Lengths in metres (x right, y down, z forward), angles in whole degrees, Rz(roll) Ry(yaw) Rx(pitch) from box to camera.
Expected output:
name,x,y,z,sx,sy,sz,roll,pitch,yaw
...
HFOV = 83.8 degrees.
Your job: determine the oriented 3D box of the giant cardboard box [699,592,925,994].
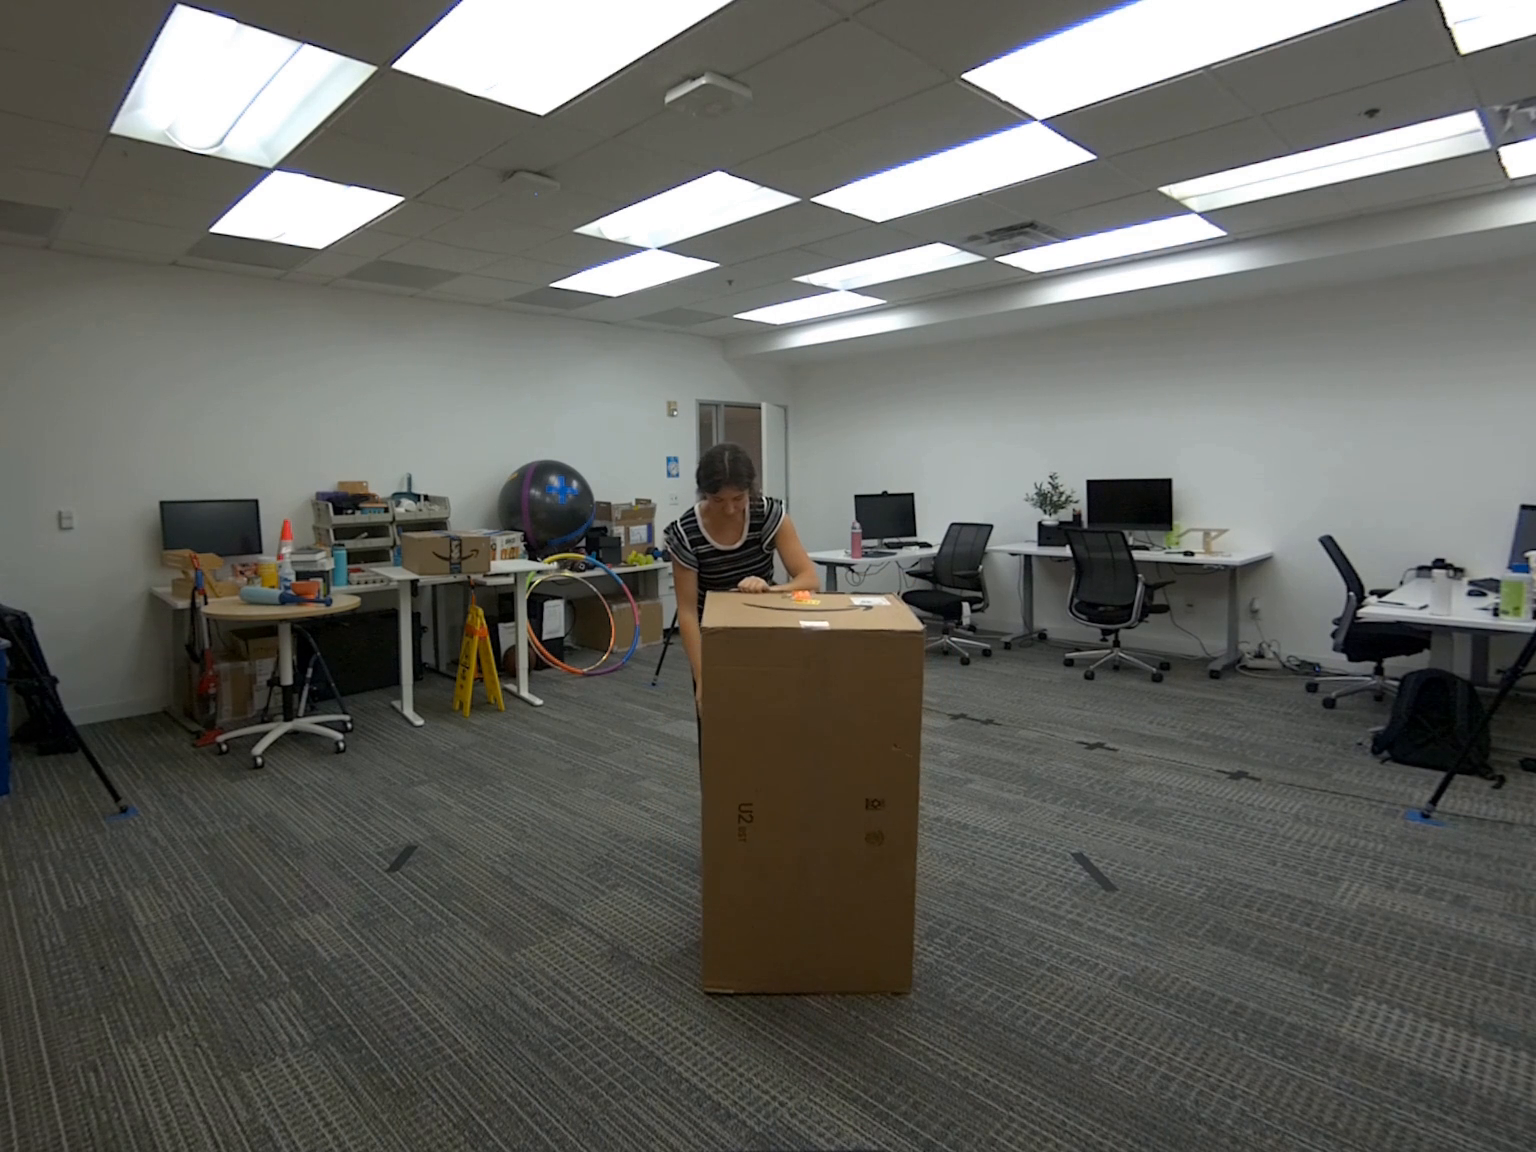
name,x,y,z,sx,sy,sz,roll,pitch,yaw
giant cardboard box,0.111,0.592,2.441,0.577,1.017,0.430,0,9,-2
